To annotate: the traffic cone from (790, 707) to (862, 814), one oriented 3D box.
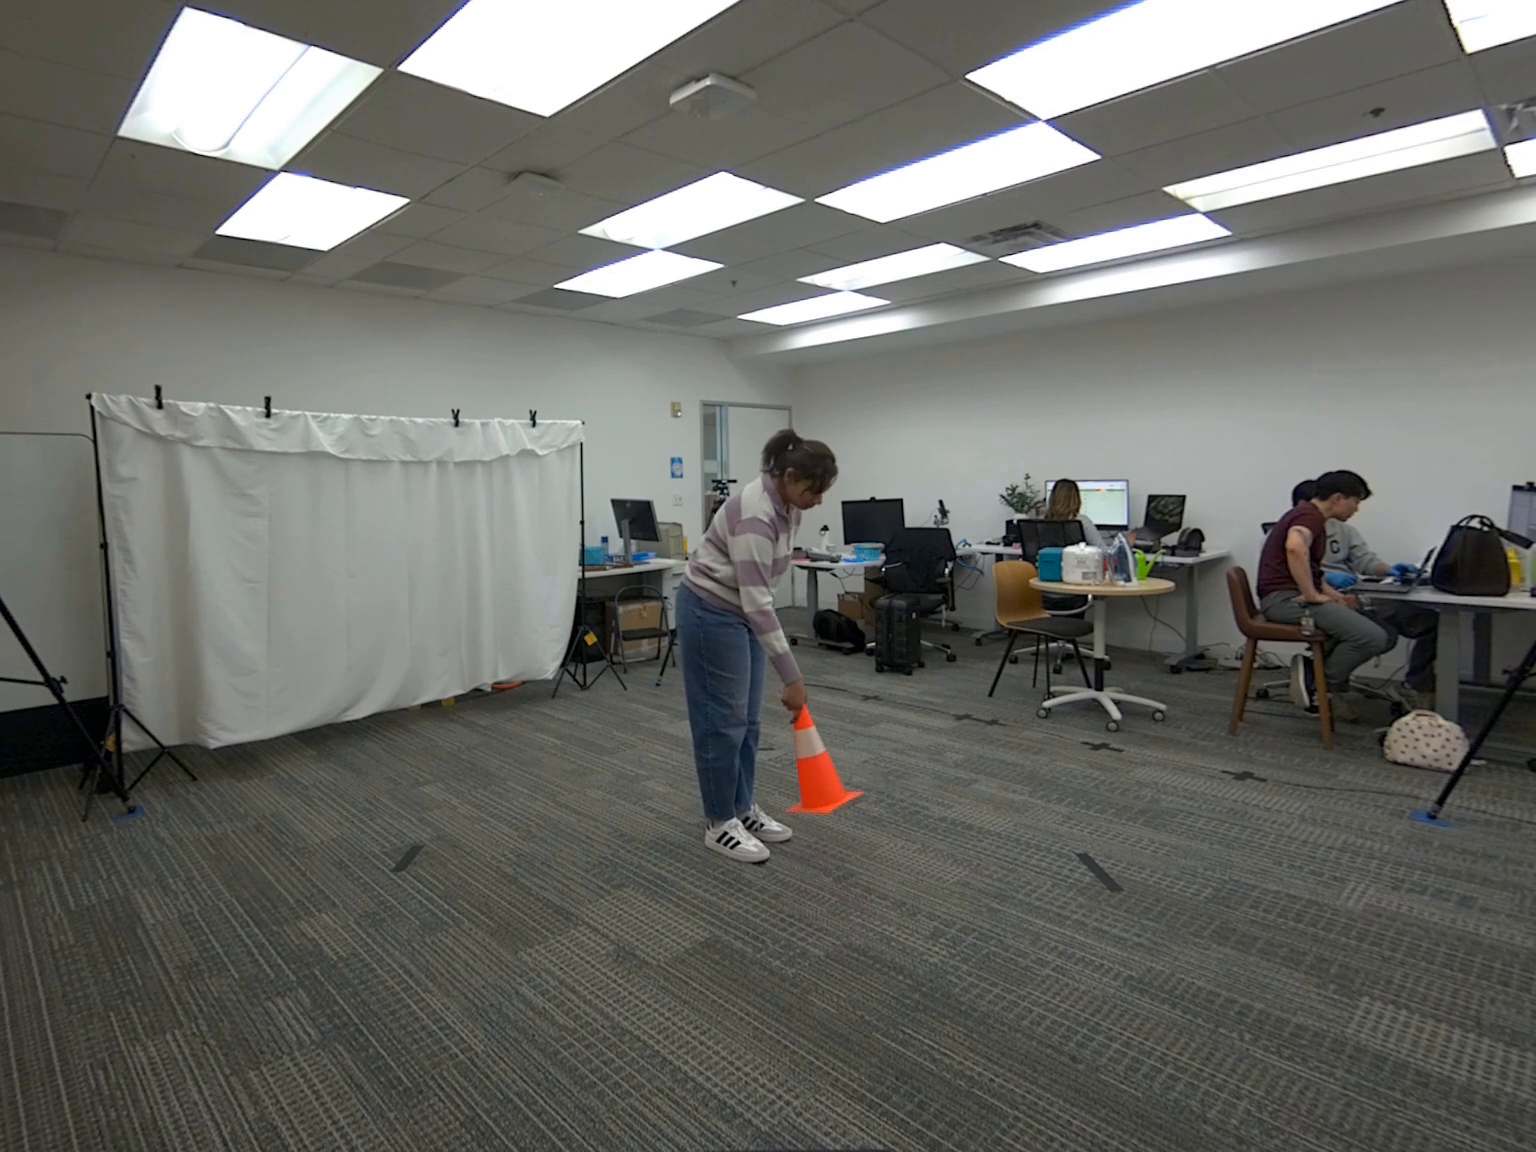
[{"bbox_3d":[0.145,0.588,2.918,0.198,0.386,0.208,-9,-8,-44],"label":"traffic cone"}]
